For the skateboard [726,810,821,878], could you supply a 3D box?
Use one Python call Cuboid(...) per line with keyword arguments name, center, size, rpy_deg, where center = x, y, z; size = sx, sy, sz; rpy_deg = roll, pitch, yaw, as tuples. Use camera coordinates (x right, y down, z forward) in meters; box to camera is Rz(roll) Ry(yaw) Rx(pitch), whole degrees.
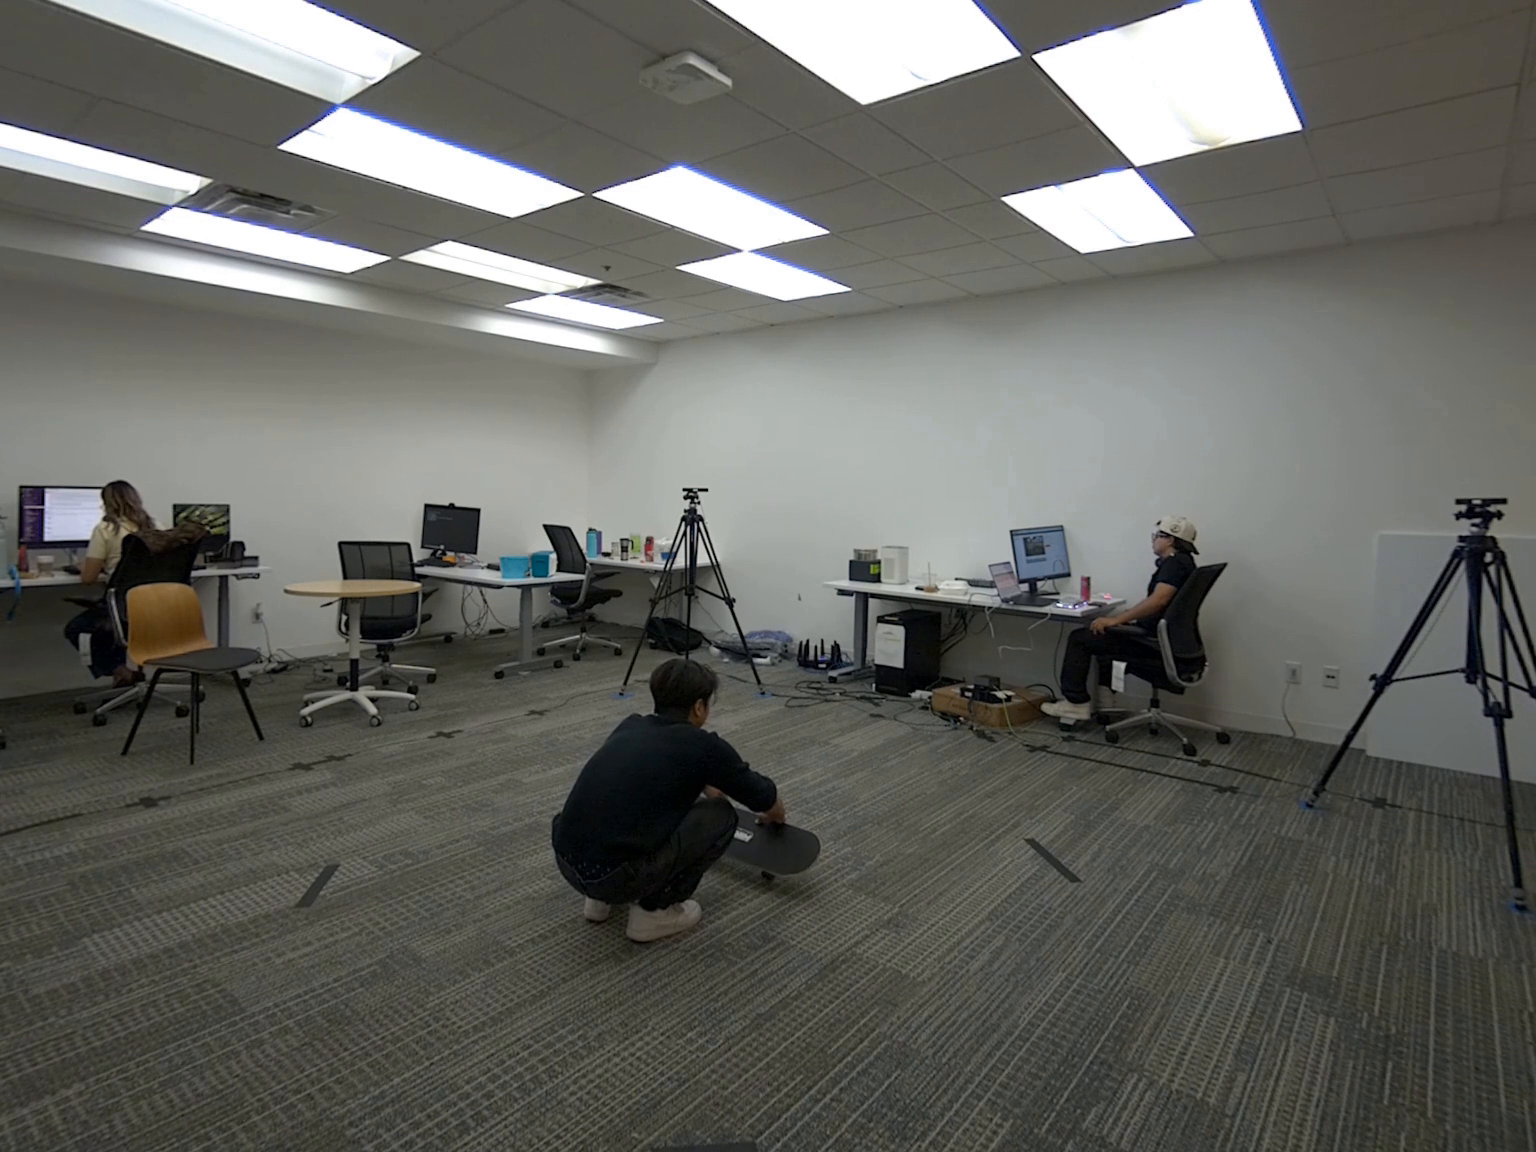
Cuboid(name="skateboard", center=(-0.139, 0.962, 3.164), size=(0.811, 0.106, 0.194), rpy_deg=(4, 44, 38))
